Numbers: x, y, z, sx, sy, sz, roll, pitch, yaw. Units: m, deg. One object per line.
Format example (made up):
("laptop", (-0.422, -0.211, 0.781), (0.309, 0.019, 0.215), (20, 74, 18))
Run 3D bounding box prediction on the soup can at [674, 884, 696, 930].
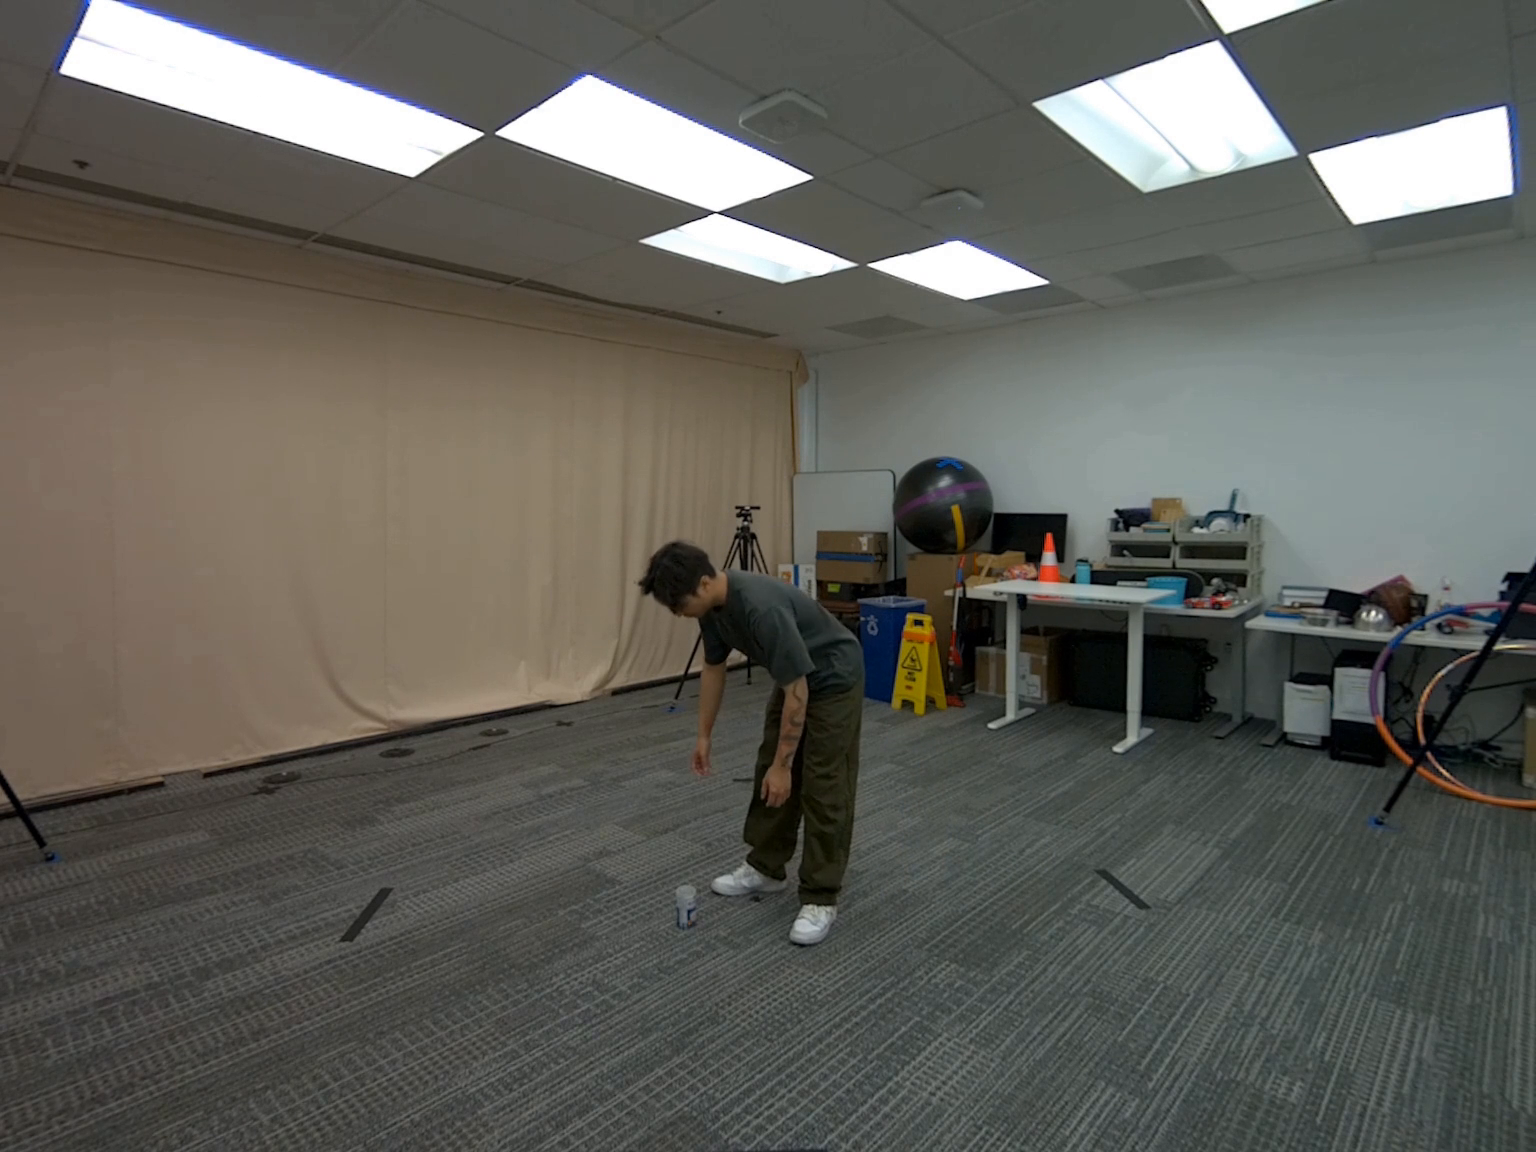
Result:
("soup can", (-0.269, 1.109, 2.799), (0.067, 0.121, 0.067), (-2, 0, -2))
